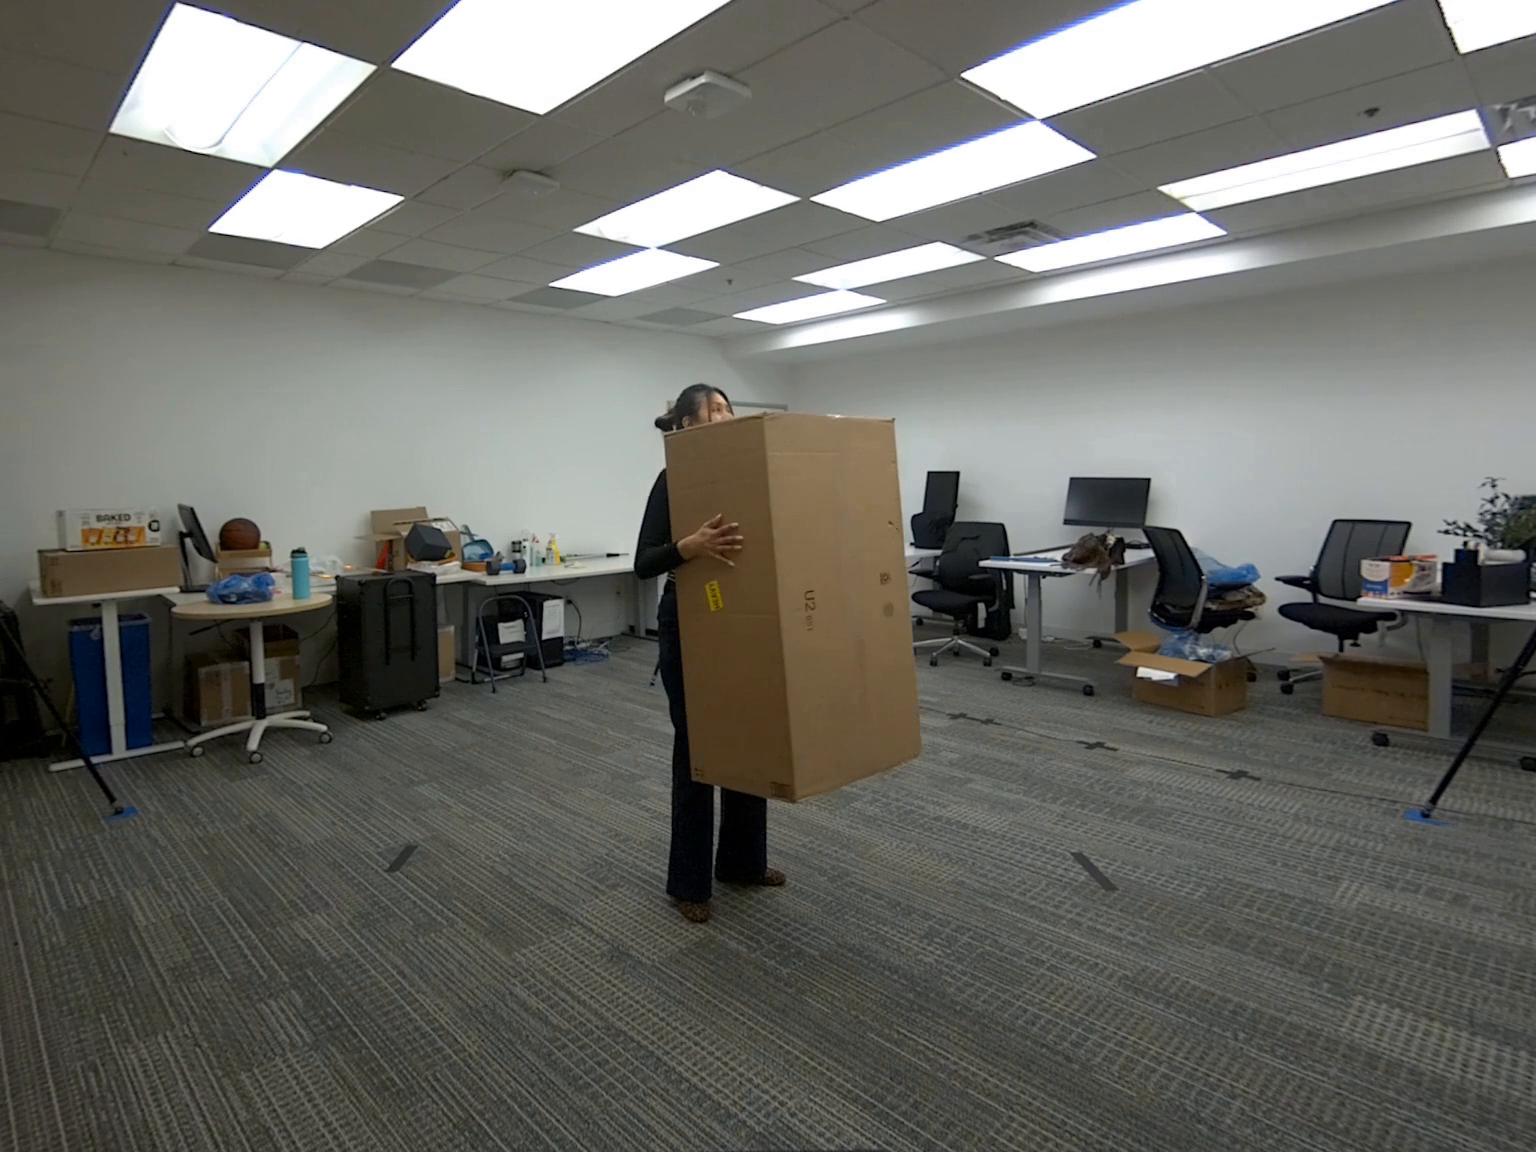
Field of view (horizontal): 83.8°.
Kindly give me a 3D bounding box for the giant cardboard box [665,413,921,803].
[{"bbox_3d":[0.081,0.065,2.552,0.562,1.026,0.438,-5,1,-43],"label":"giant cardboard box"}]
